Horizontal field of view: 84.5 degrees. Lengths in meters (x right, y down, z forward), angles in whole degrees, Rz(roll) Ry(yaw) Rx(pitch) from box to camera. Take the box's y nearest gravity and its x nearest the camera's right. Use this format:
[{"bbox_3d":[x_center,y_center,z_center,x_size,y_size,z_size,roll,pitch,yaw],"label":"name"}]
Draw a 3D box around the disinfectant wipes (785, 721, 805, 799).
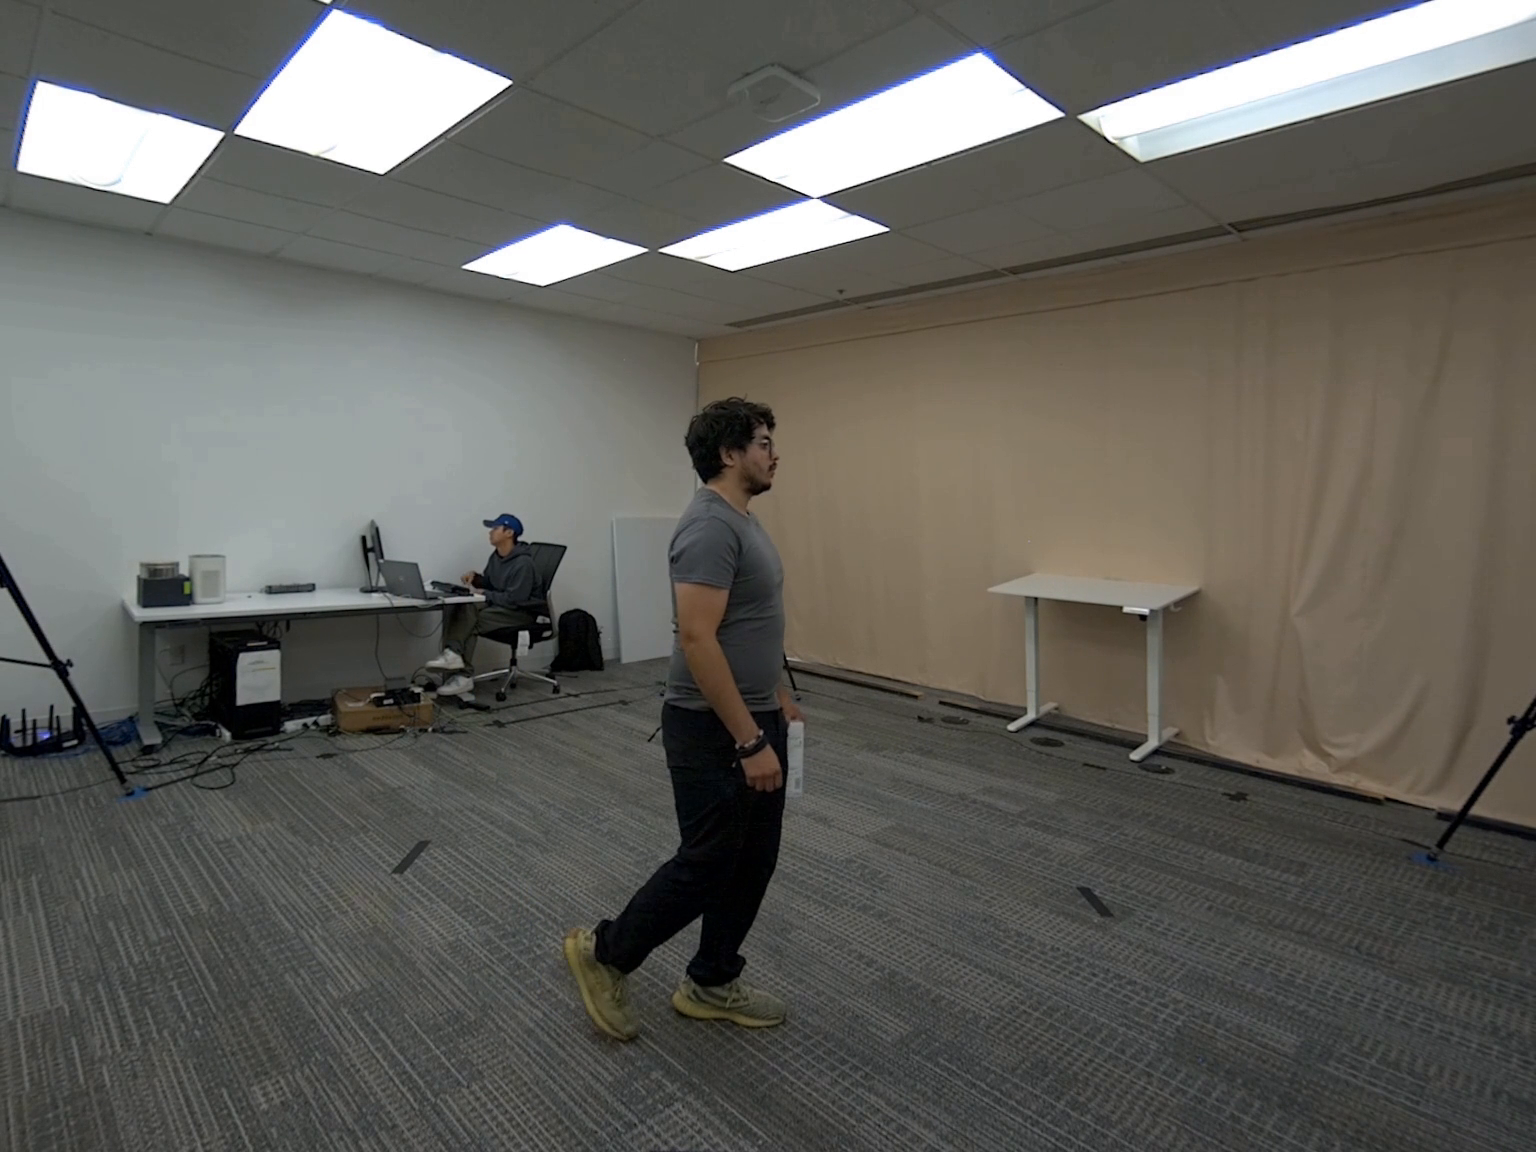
[{"bbox_3d":[0.034,0.542,2.473,0.118,0.218,0.117,0,-6,-1],"label":"disinfectant wipes"}]
